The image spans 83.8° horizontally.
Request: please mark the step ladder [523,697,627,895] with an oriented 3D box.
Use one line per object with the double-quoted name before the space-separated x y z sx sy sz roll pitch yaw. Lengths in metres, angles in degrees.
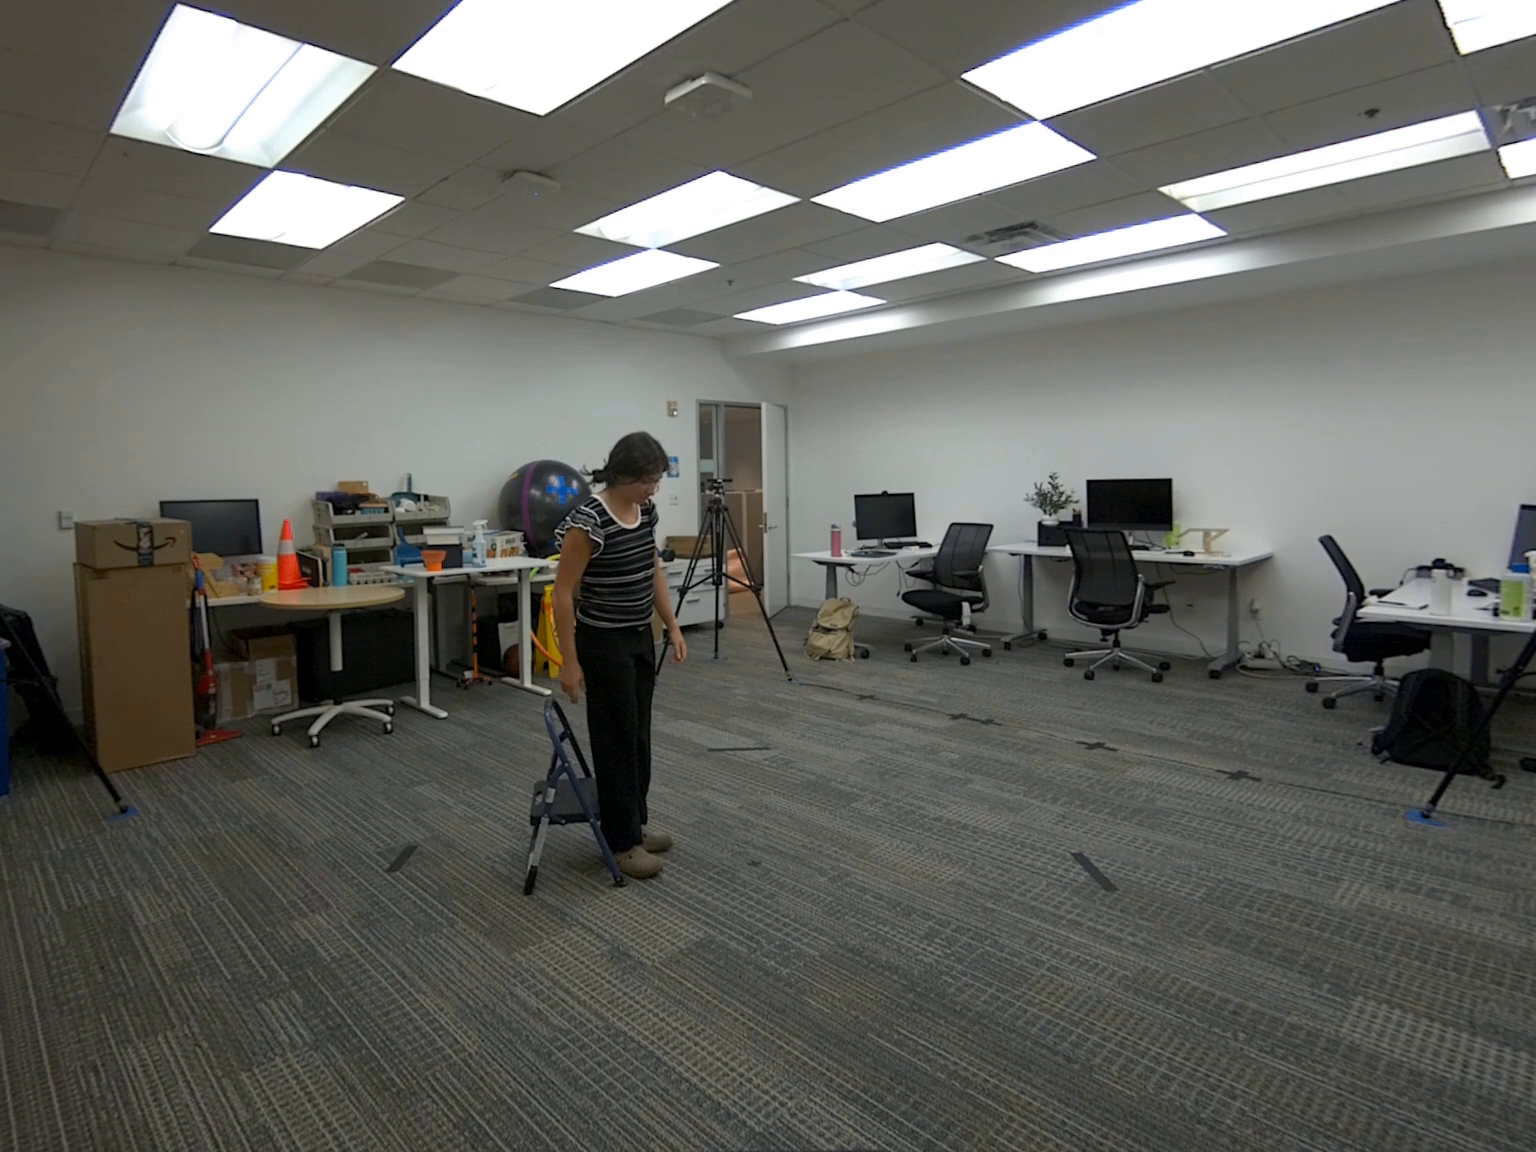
"step ladder" -0.712 0.758 3.108 0.345 0.604 0.437 -1 4 -12
